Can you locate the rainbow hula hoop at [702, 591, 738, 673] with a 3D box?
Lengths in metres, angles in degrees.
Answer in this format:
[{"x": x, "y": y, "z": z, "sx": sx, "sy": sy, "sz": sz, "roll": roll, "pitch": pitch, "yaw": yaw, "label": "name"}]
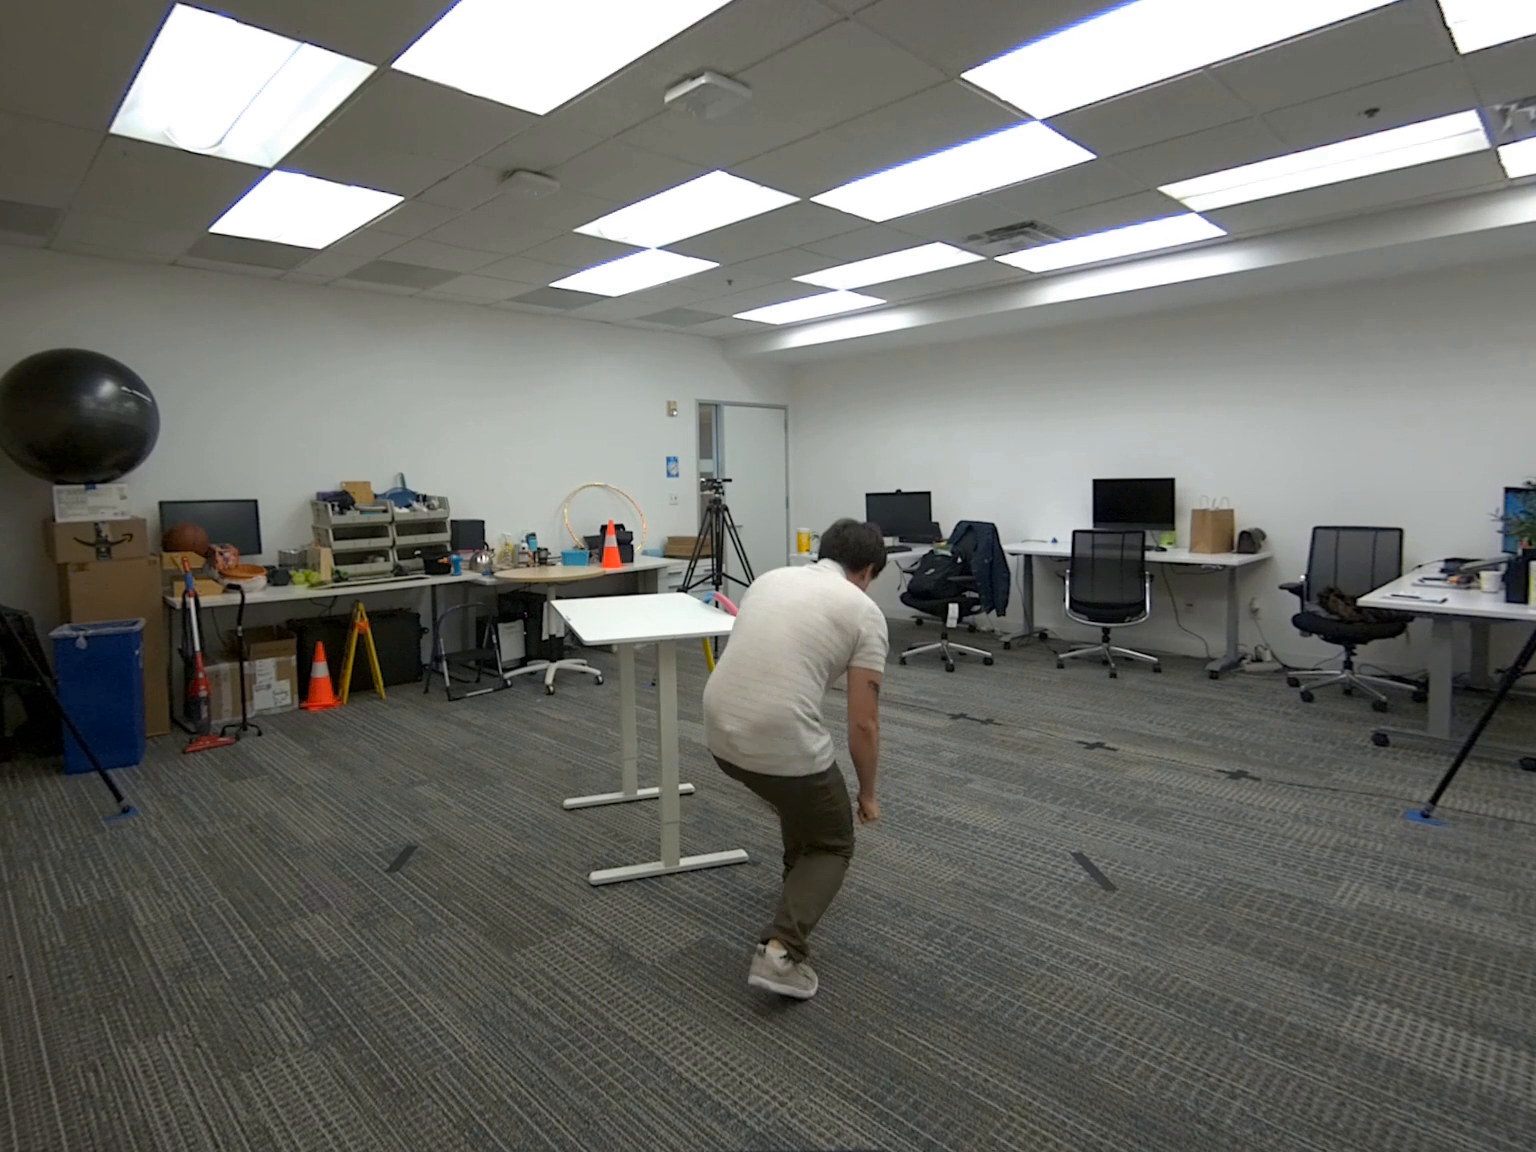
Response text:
[{"x": -0.062, "y": 0.535, "z": 3.501, "sx": 0.035, "sy": 0.969, "sz": 0.999, "roll": -19, "pitch": 10, "yaw": -18, "label": "rainbow hula hoop"}]
